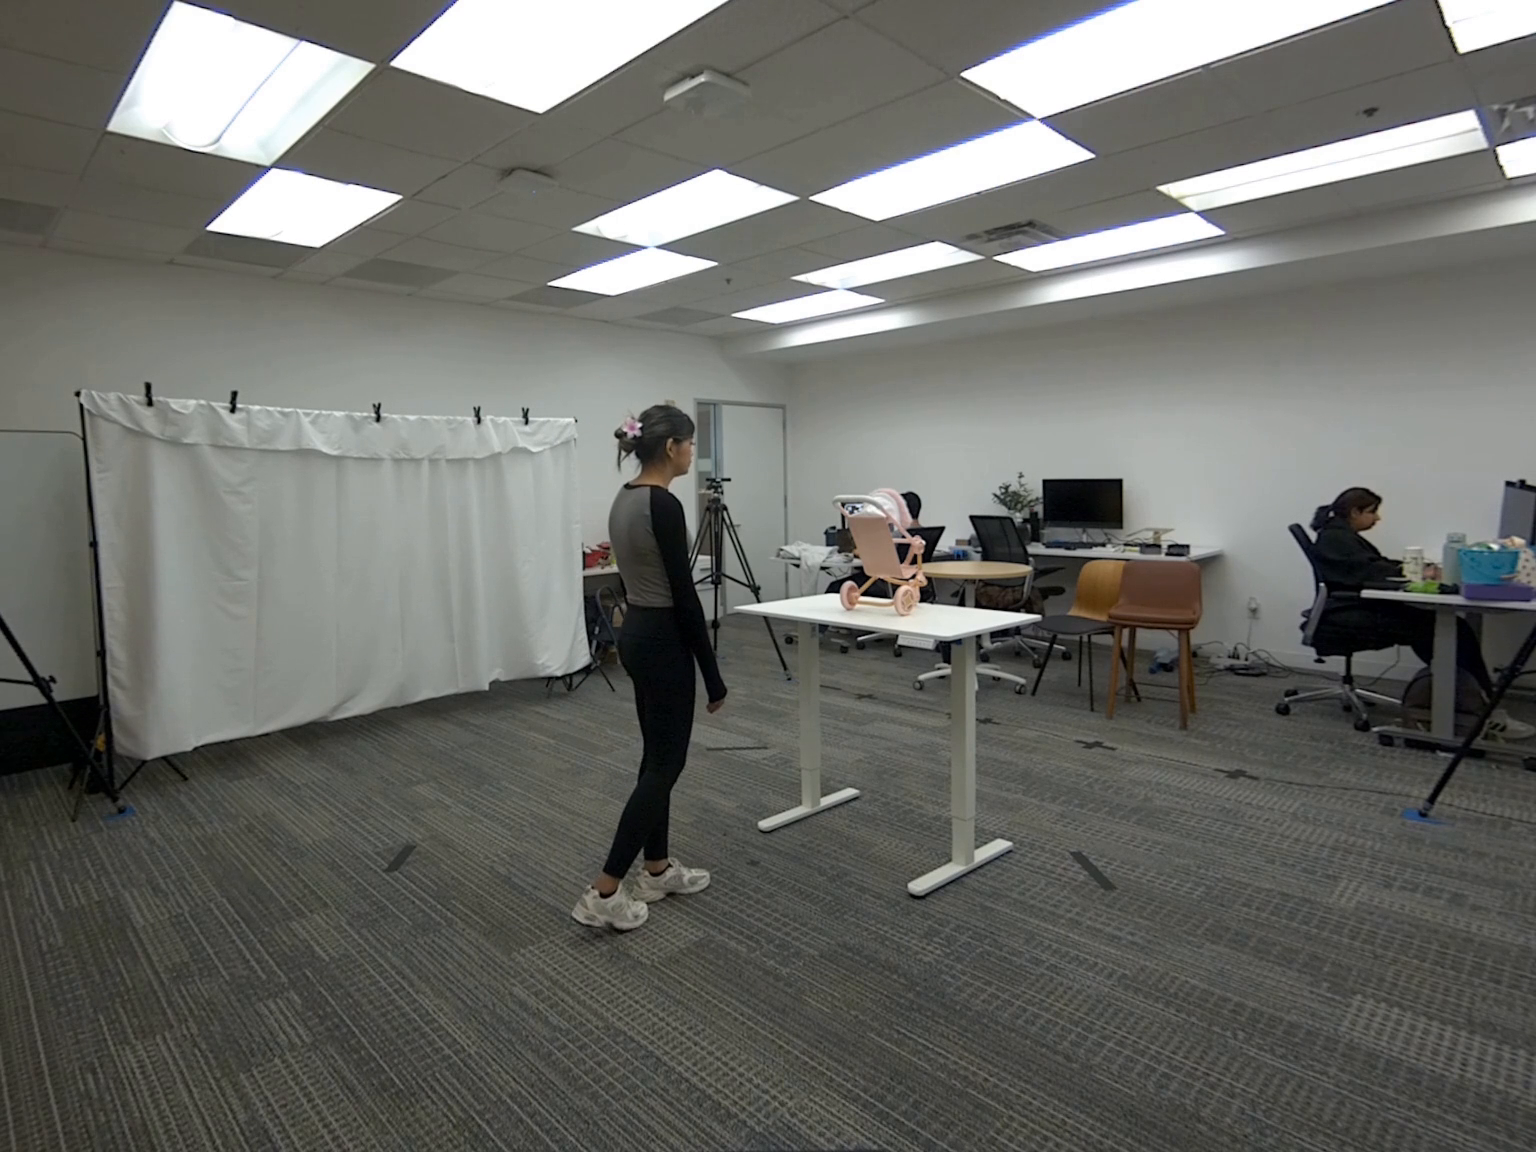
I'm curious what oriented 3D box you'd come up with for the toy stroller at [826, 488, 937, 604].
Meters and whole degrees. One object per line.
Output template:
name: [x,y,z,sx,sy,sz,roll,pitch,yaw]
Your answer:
toy stroller: [0.453,-0.091,3.250,0.336,0.527,0.290,-23,18,-40]
